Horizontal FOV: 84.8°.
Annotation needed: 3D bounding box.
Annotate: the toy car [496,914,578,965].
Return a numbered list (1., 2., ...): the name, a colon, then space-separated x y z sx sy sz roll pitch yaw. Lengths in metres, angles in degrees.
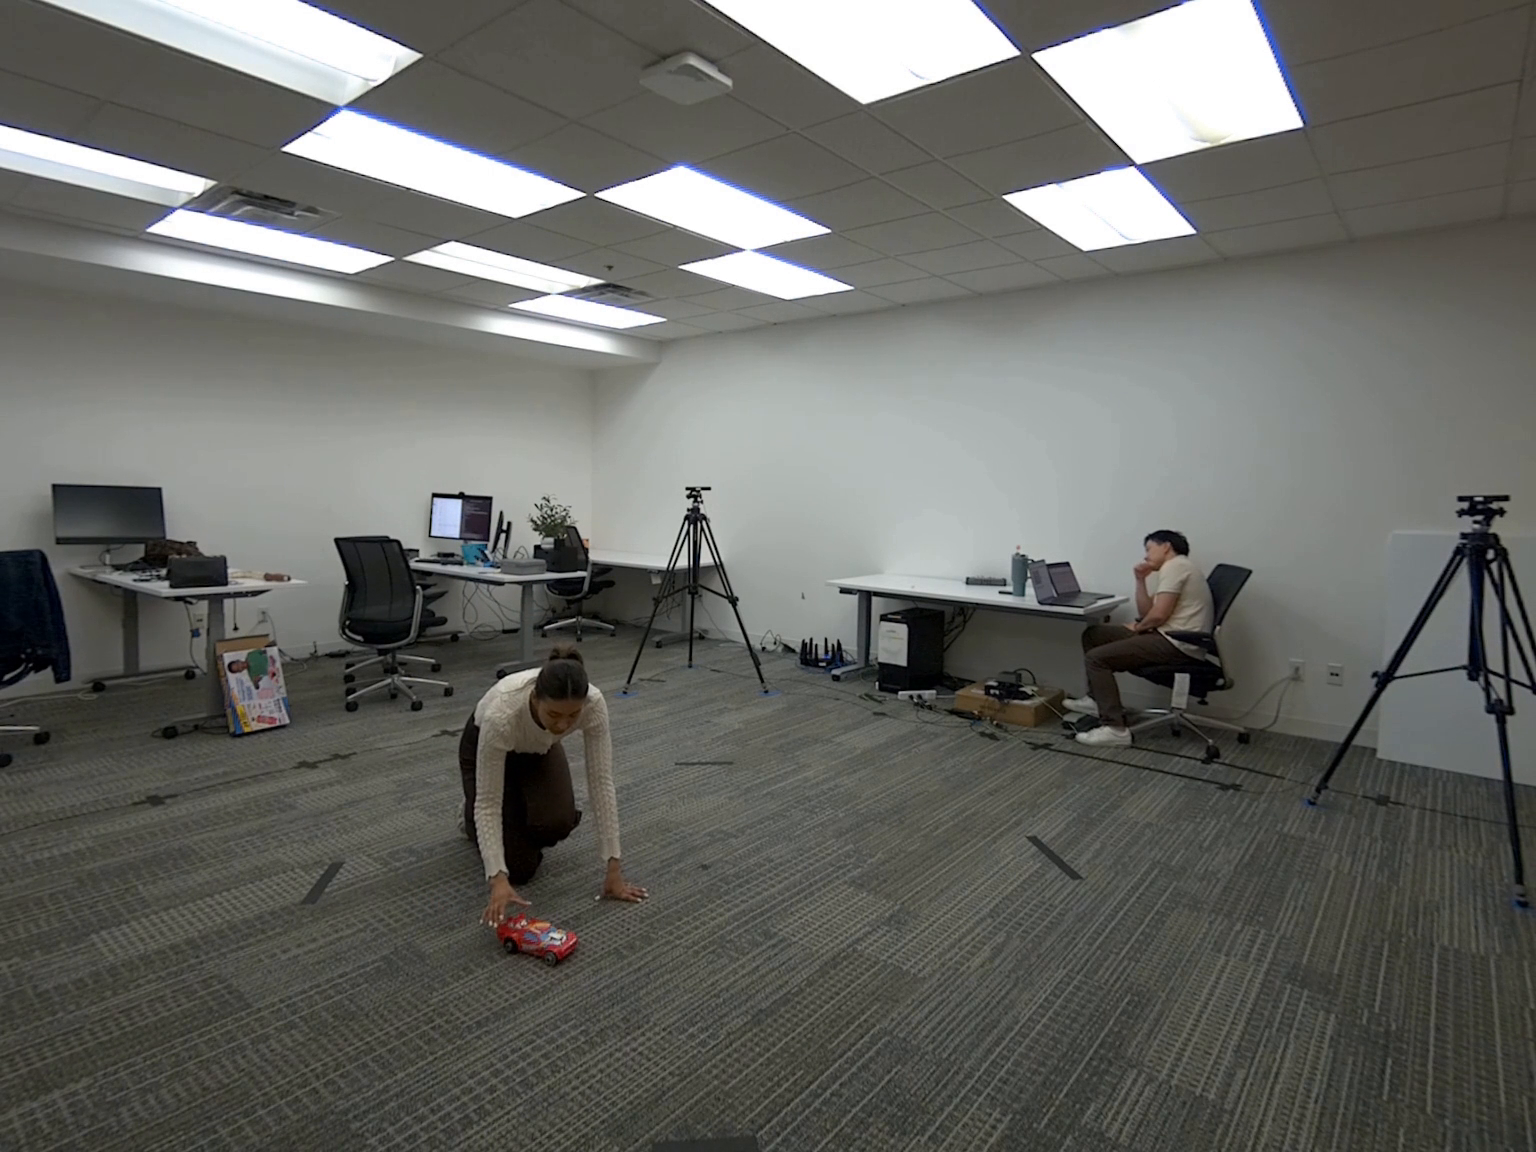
1. toy car: -0.707 1.082 2.545 0.262 0.082 0.127 14 10 23
